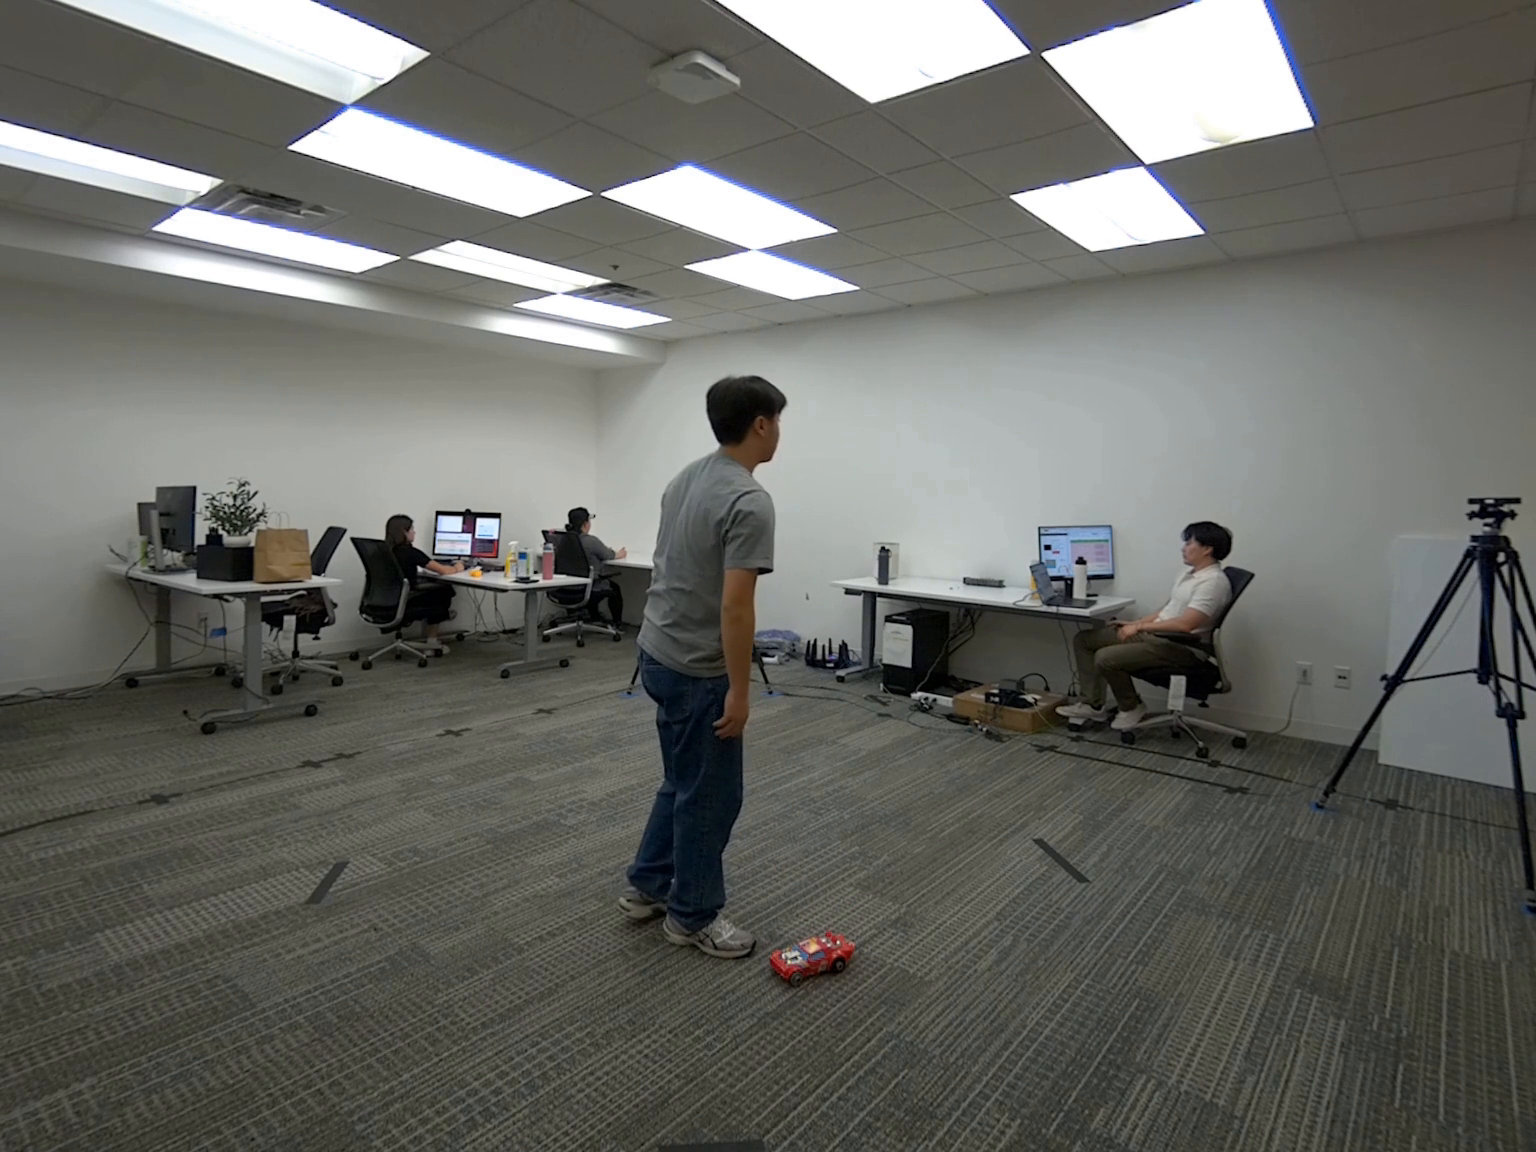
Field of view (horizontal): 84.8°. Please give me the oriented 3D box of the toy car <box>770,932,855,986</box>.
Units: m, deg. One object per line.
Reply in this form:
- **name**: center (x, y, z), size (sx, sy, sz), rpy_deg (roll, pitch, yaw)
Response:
- **toy car**: center (0.133, 1.105, 2.471), size (0.250, 0.082, 0.134), rpy_deg (-15, 13, -26)
